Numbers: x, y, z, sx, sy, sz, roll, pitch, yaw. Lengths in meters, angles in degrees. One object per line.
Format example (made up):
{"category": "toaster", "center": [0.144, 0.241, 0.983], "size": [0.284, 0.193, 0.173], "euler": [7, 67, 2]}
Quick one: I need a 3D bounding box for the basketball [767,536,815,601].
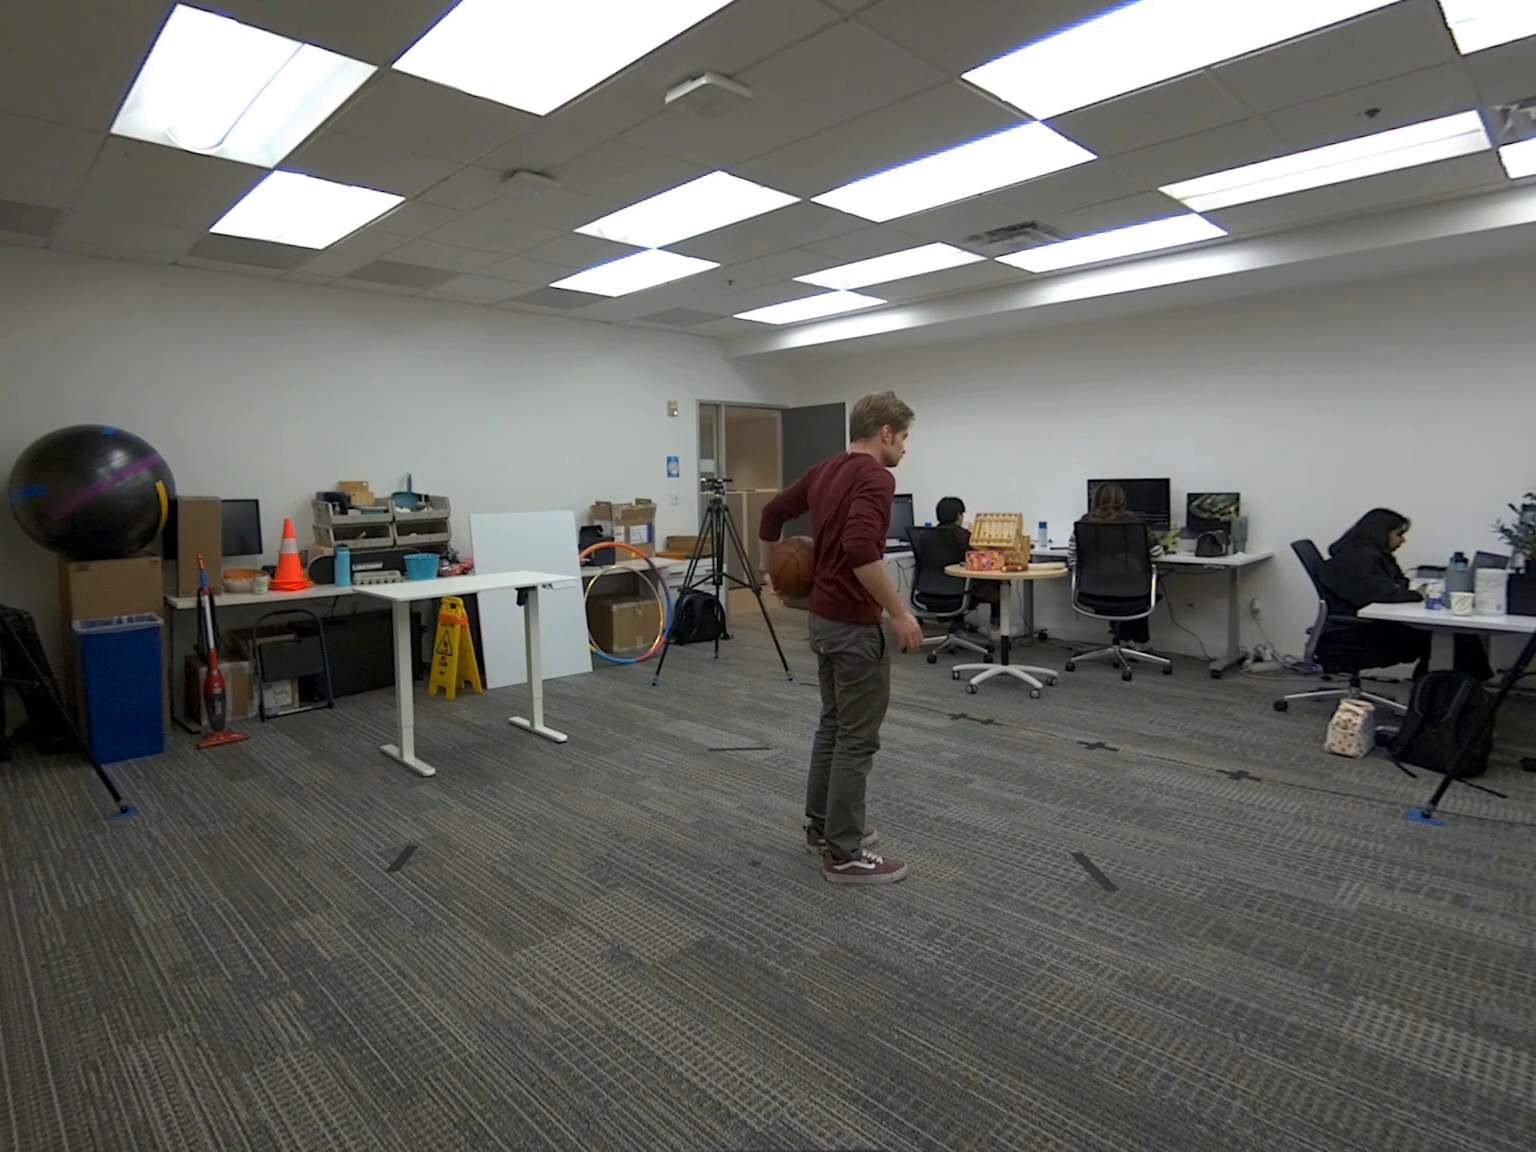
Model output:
{"category": "basketball", "center": [0.123, -0.035, 3.236], "size": [0.236, 0.235, 0.237], "euler": [-1, 5, -2]}
